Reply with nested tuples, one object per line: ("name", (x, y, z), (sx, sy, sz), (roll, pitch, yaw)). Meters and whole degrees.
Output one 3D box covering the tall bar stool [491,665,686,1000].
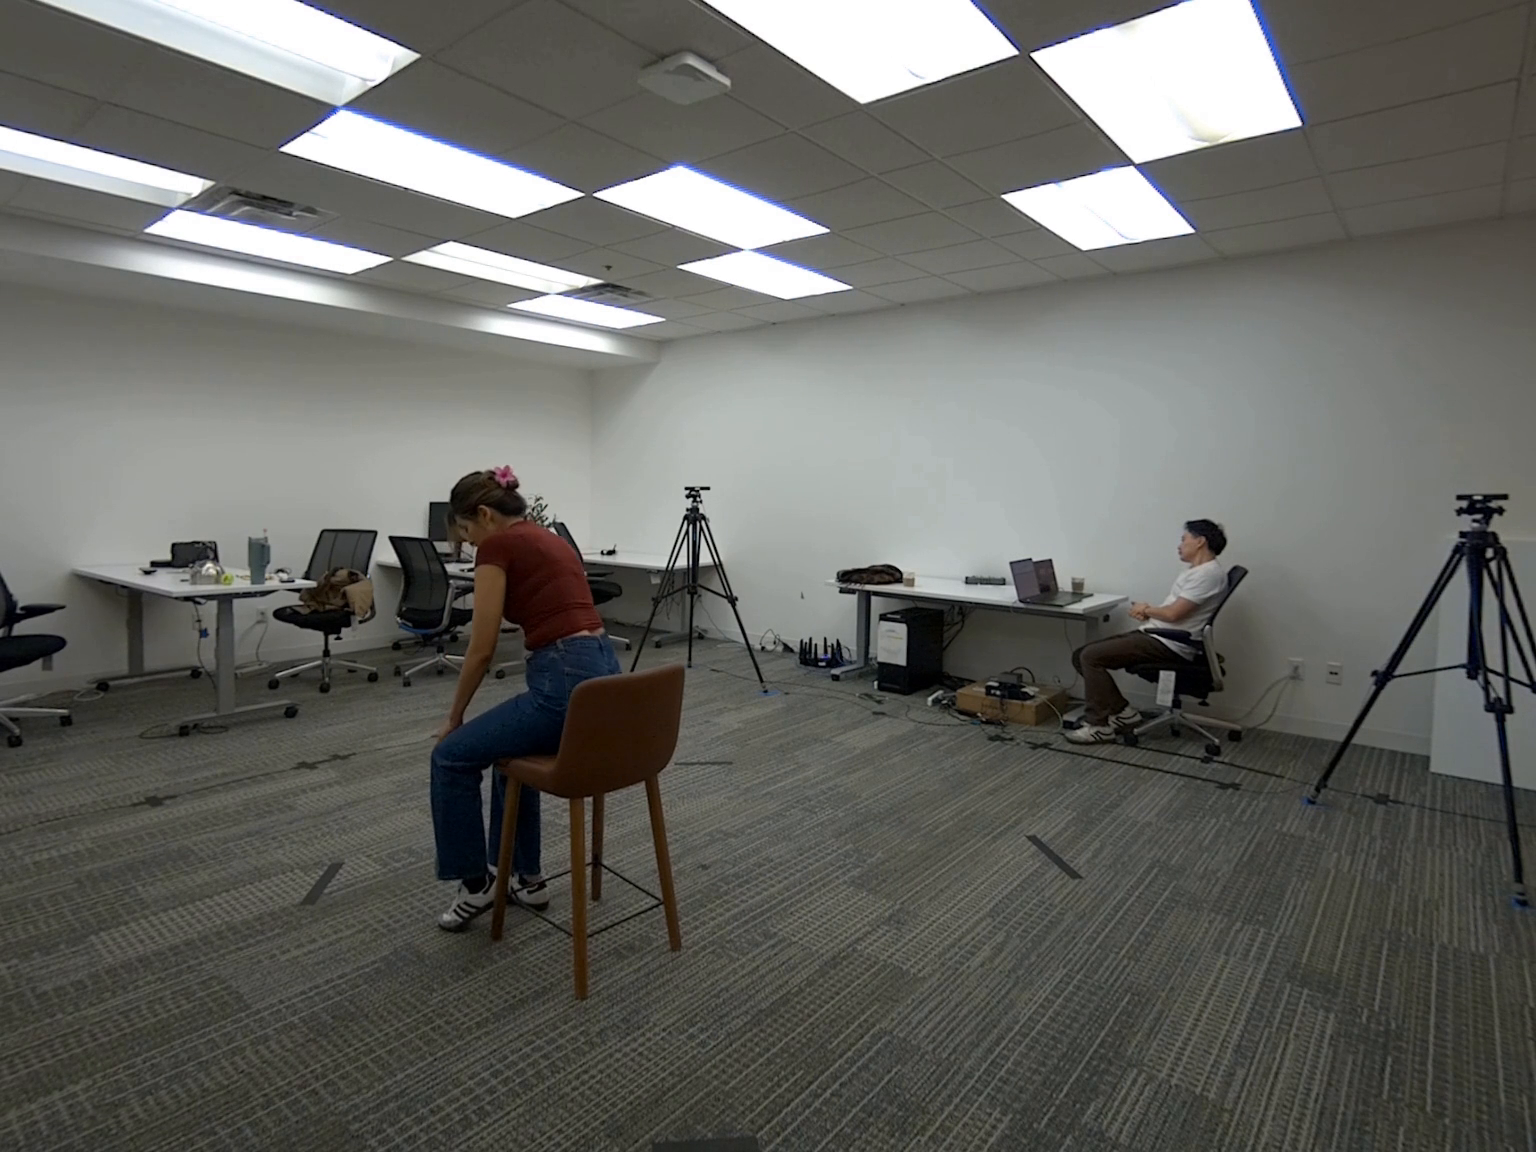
("tall bar stool", (-0.546, 0.688, 2.549), (0.484, 0.886, 0.443), (6, 6, 43))
